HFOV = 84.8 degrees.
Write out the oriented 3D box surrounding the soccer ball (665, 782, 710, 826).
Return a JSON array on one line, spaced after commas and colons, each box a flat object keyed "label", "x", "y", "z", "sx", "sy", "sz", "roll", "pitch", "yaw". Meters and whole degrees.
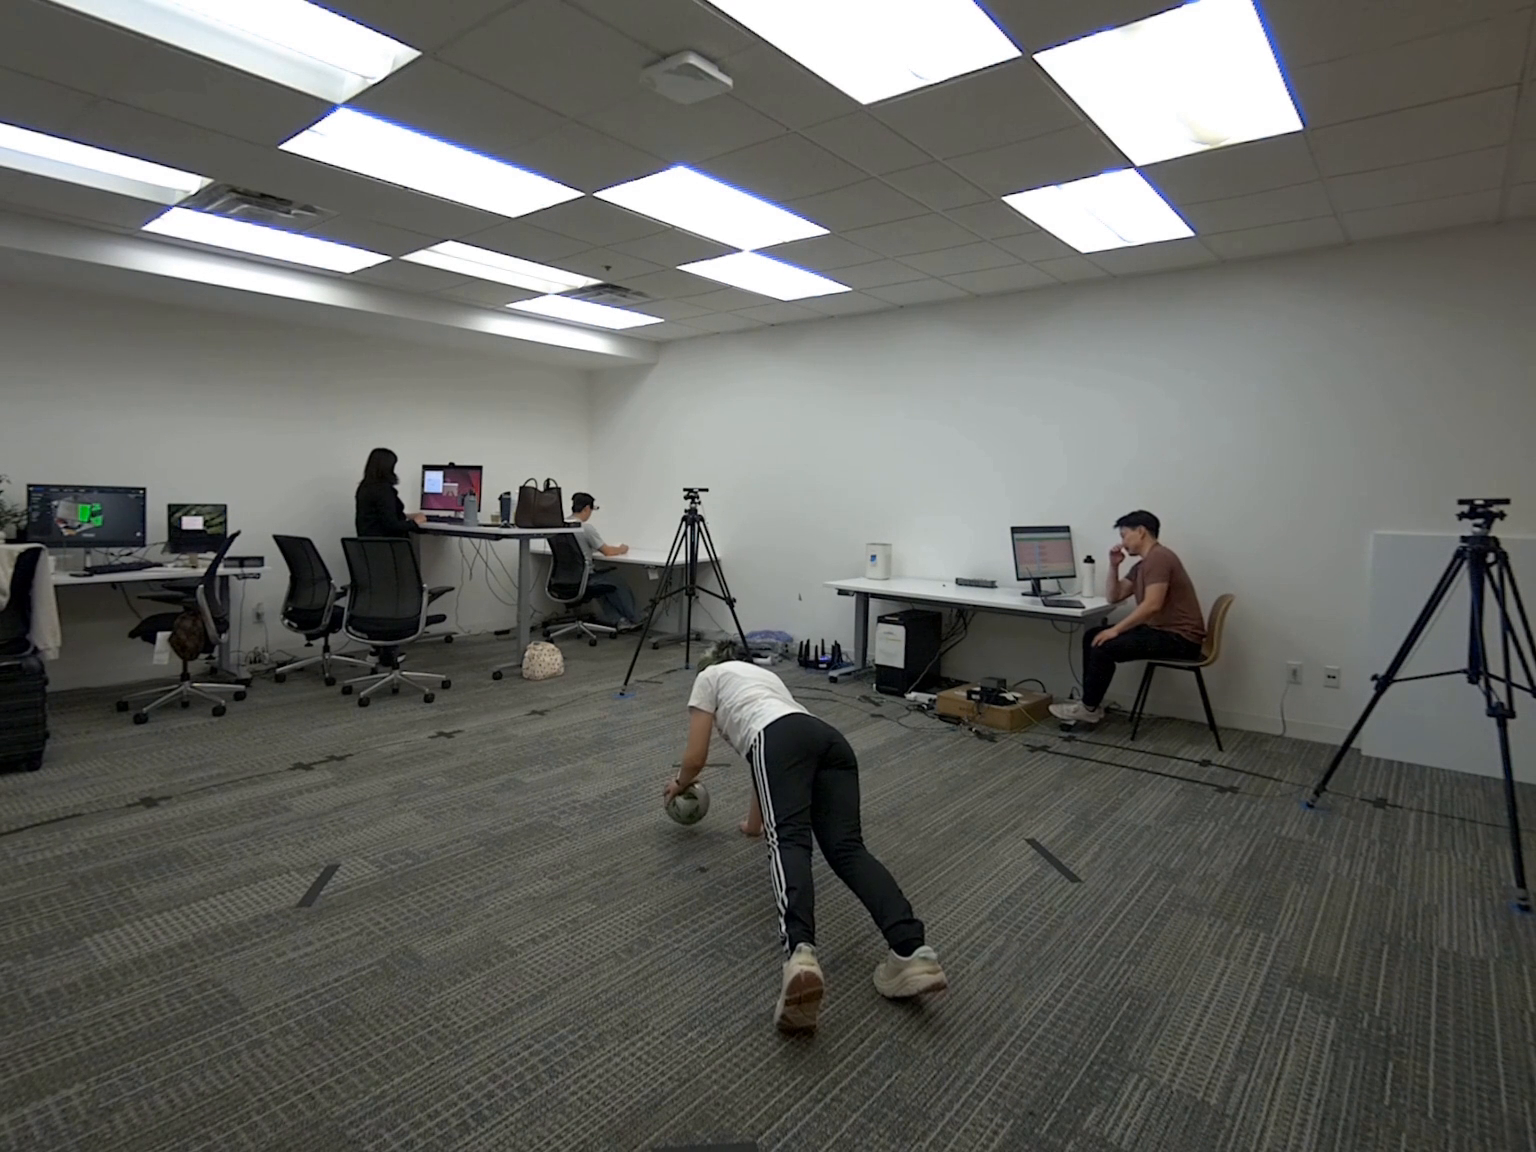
[{"label": "soccer ball", "x": -0.341, "y": 0.900, "z": 3.433, "sx": 0.187, "sy": 0.187, "sz": 0.188, "roll": 1, "pitch": 4, "yaw": -2}]
